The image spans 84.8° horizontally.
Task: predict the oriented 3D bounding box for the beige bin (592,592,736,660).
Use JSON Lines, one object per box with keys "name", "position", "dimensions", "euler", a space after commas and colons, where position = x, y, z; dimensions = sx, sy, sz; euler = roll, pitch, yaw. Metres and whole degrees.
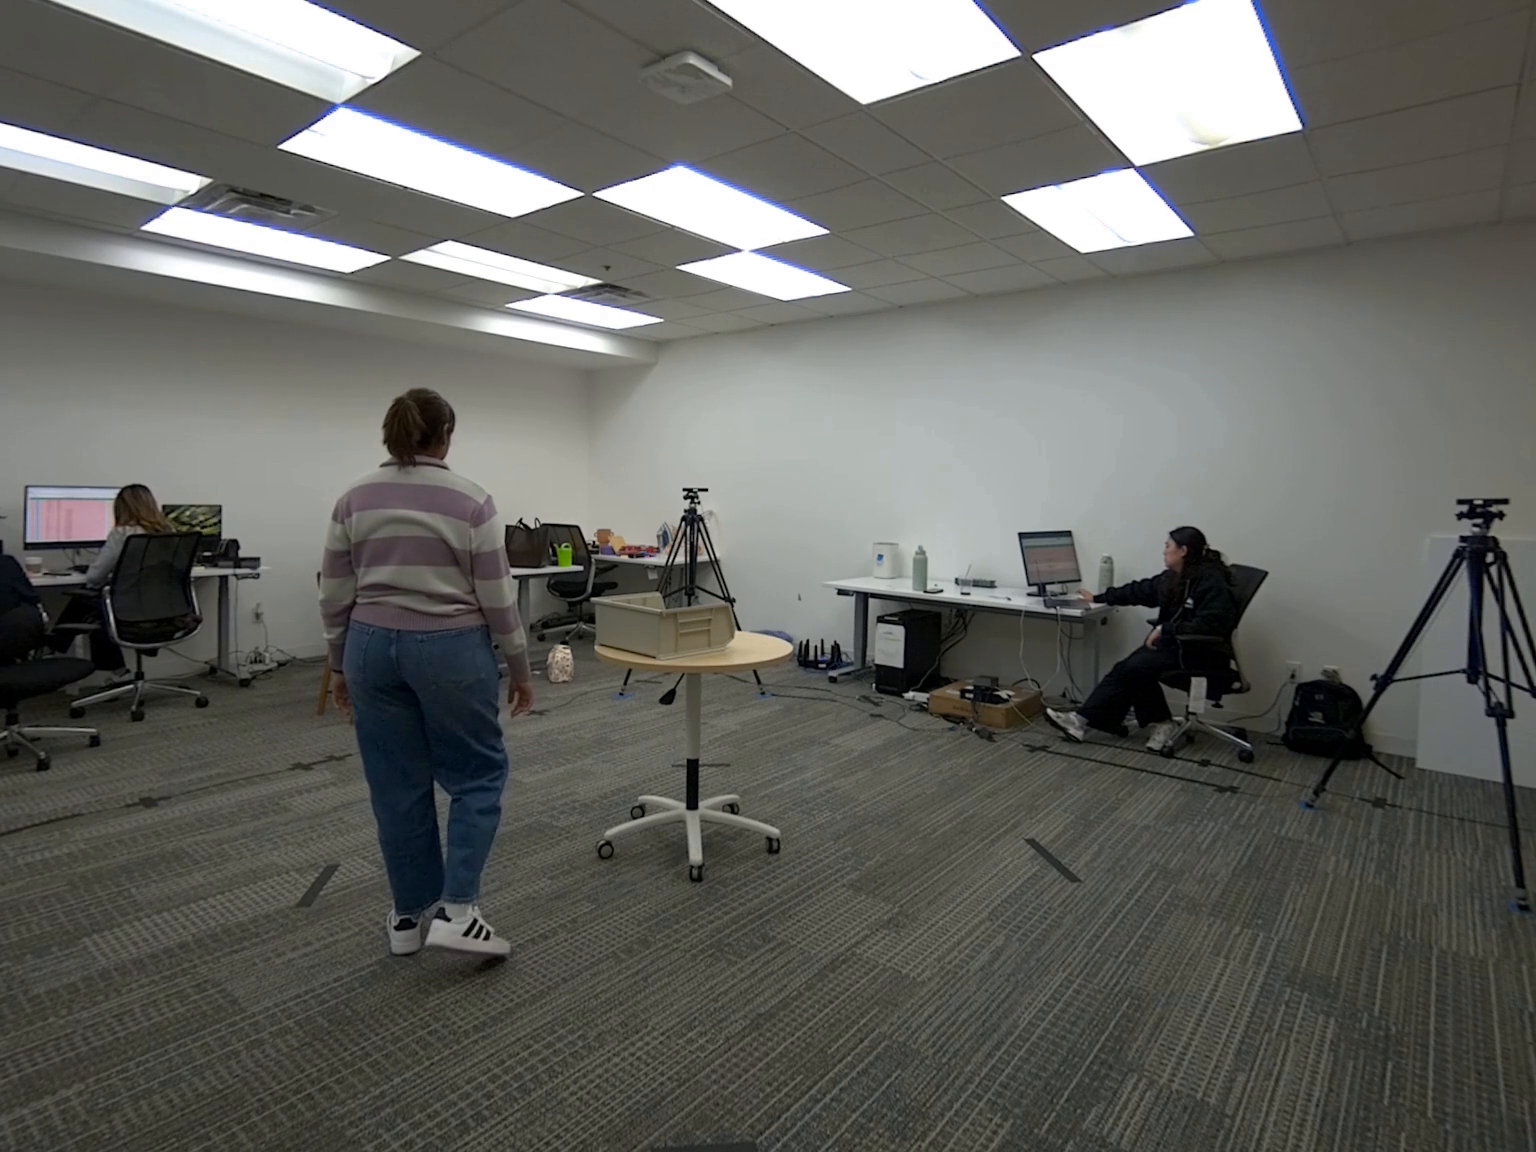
{"name": "beige bin", "position": [-0.416, 0.182, 3.256], "dimensions": [0.366, 0.188, 0.437], "euler": [-6, 9, -45]}
